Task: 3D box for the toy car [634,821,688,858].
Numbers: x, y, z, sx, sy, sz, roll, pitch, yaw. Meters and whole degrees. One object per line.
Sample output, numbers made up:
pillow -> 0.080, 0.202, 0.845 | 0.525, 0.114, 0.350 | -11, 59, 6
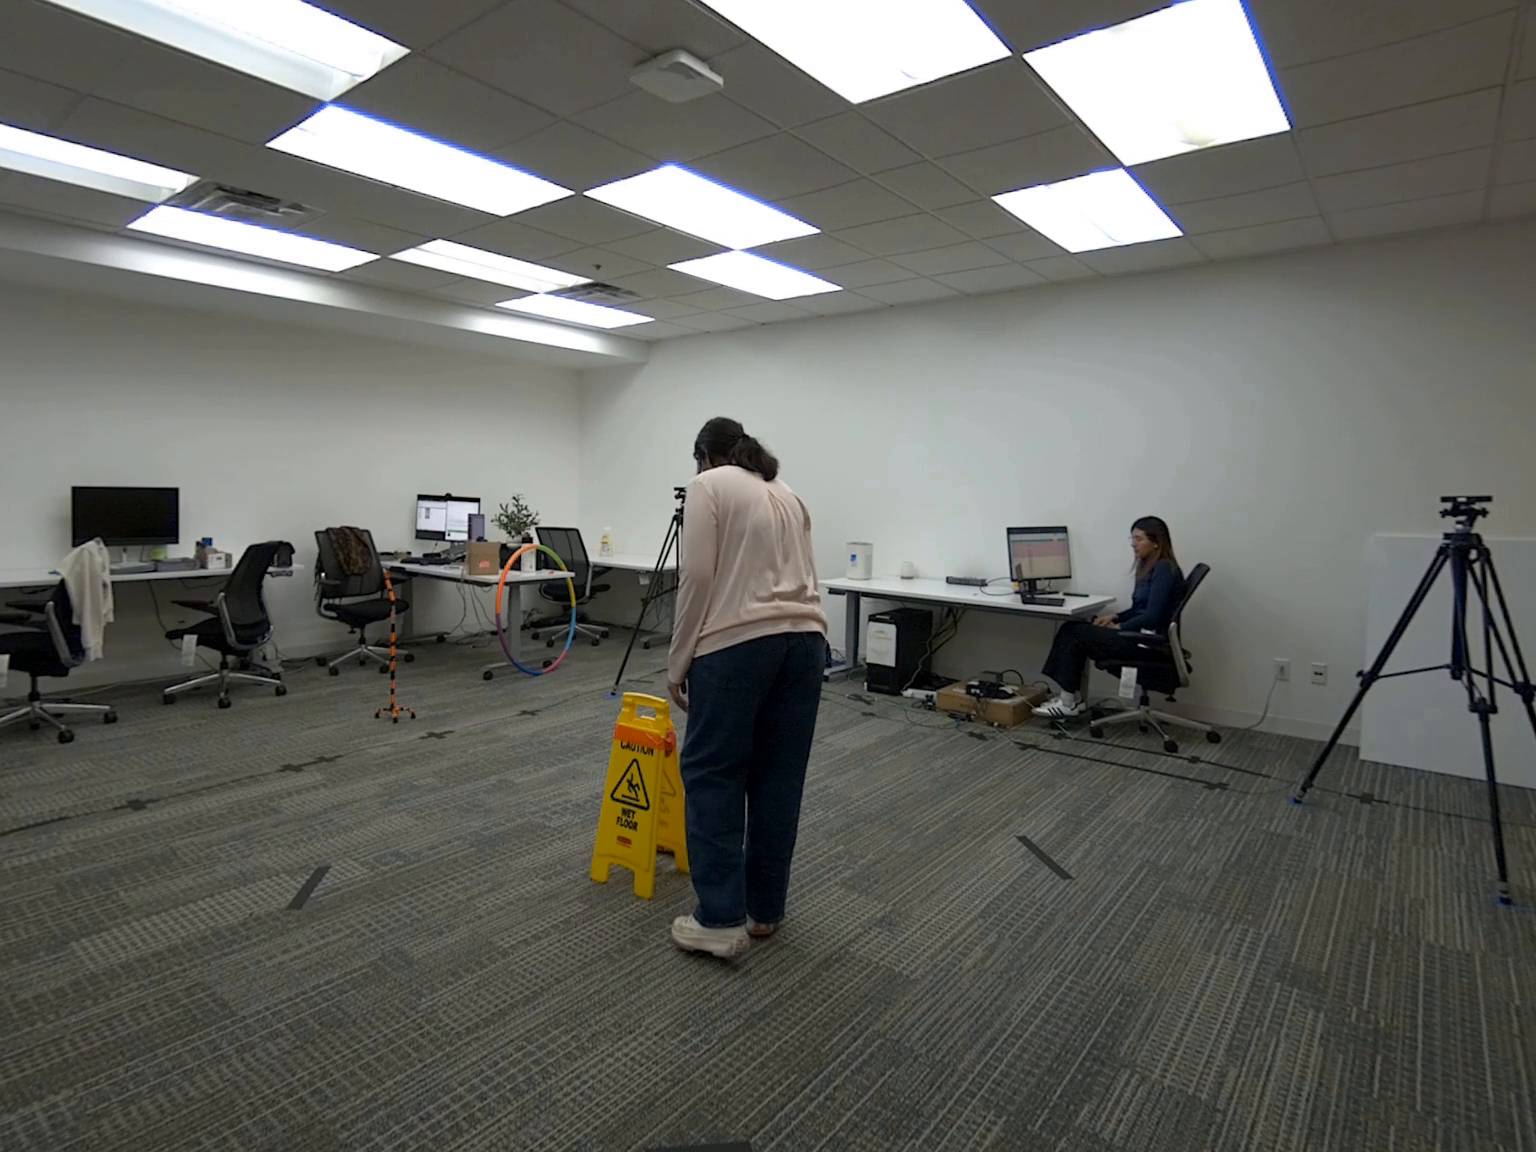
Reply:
toy car -> -0.371, 1.015, 3.256 | 0.258, 0.083, 0.128 | -9, -1, 15
